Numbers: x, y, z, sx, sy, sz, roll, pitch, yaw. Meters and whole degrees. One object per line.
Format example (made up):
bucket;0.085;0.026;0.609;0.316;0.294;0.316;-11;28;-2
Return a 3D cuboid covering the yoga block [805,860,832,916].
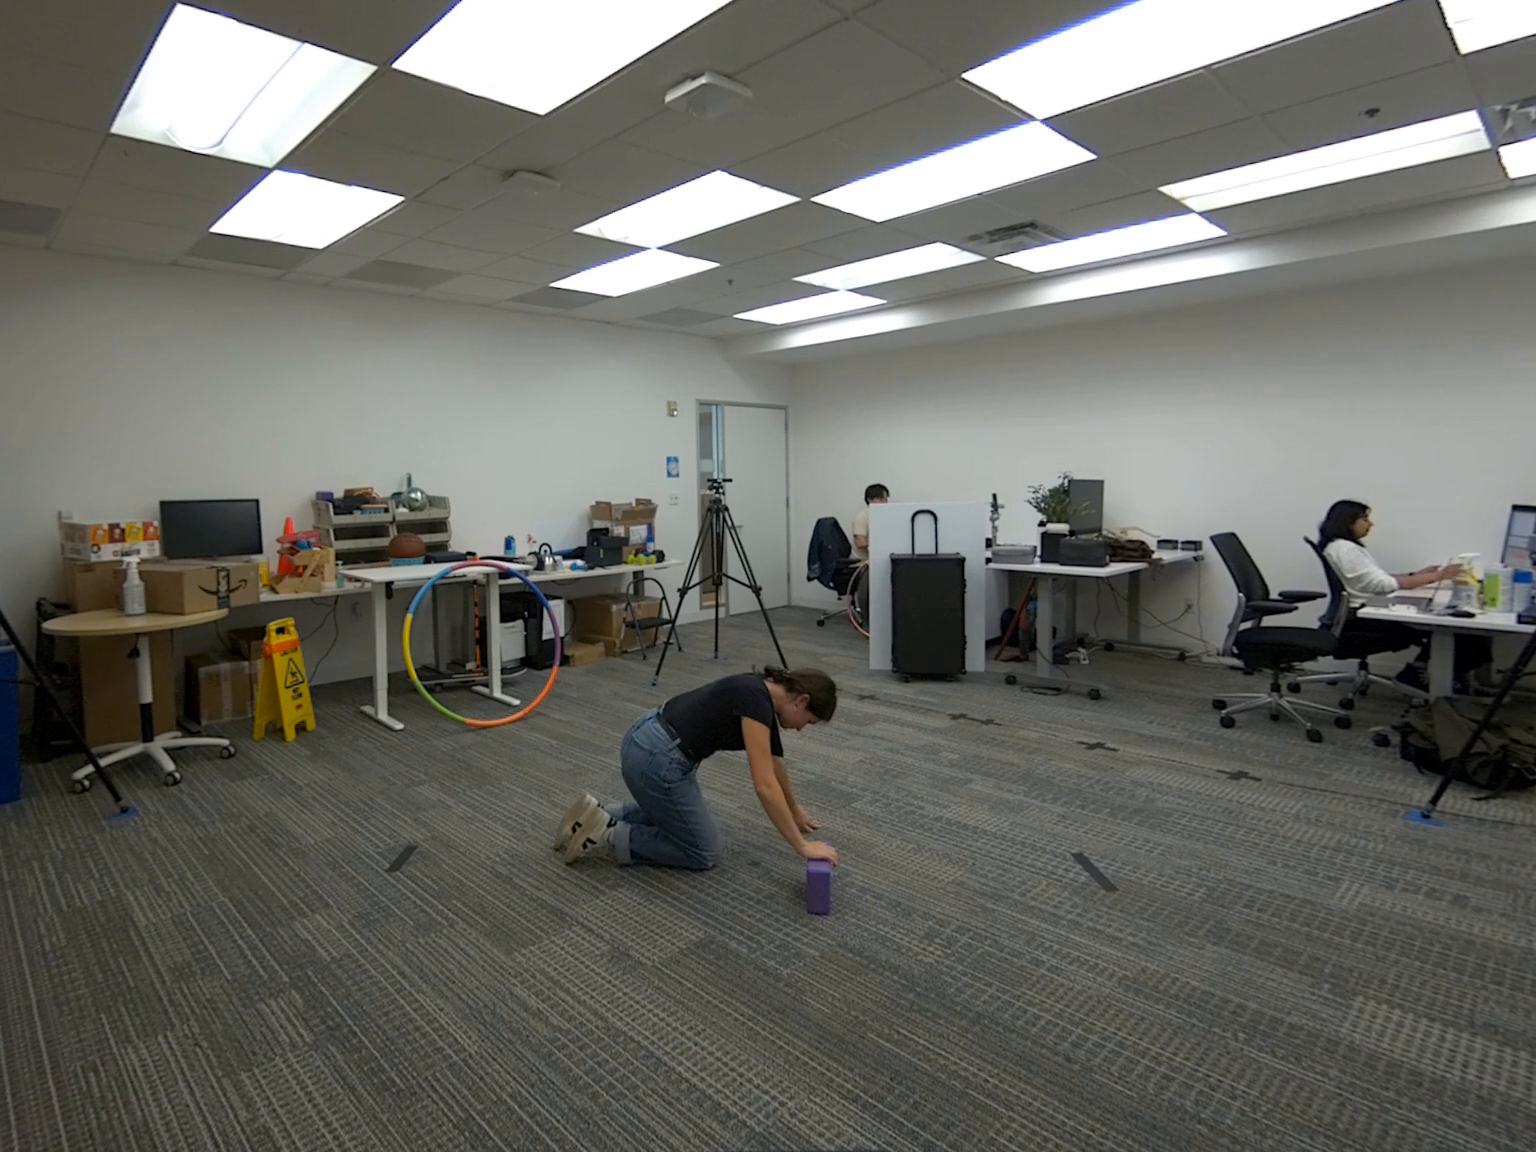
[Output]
yoga block;0.174;0.994;2.842;0.077;0.149;0.228;1;1;5
